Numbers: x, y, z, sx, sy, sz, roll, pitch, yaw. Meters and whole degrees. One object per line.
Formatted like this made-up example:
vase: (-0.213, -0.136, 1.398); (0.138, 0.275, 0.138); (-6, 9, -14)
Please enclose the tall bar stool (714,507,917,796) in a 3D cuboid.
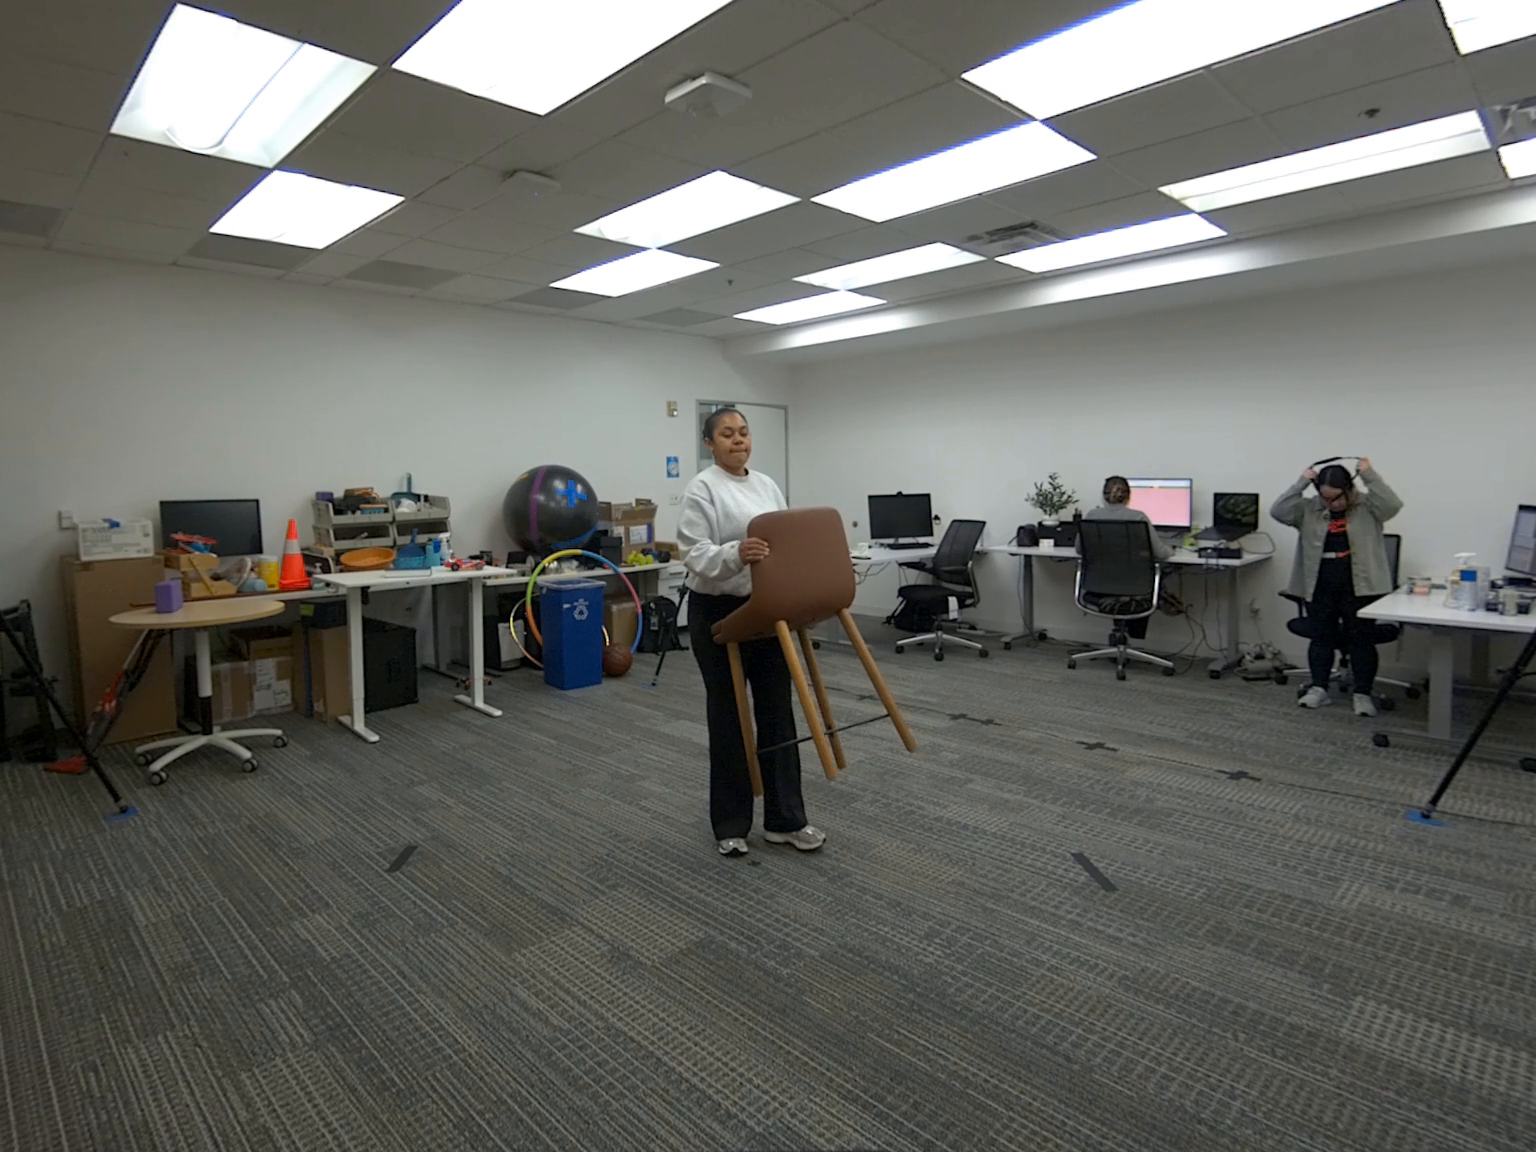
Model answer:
tall bar stool: (0.114, 0.266, 2.989); (0.446, 0.903, 0.472); (-7, -15, -33)
